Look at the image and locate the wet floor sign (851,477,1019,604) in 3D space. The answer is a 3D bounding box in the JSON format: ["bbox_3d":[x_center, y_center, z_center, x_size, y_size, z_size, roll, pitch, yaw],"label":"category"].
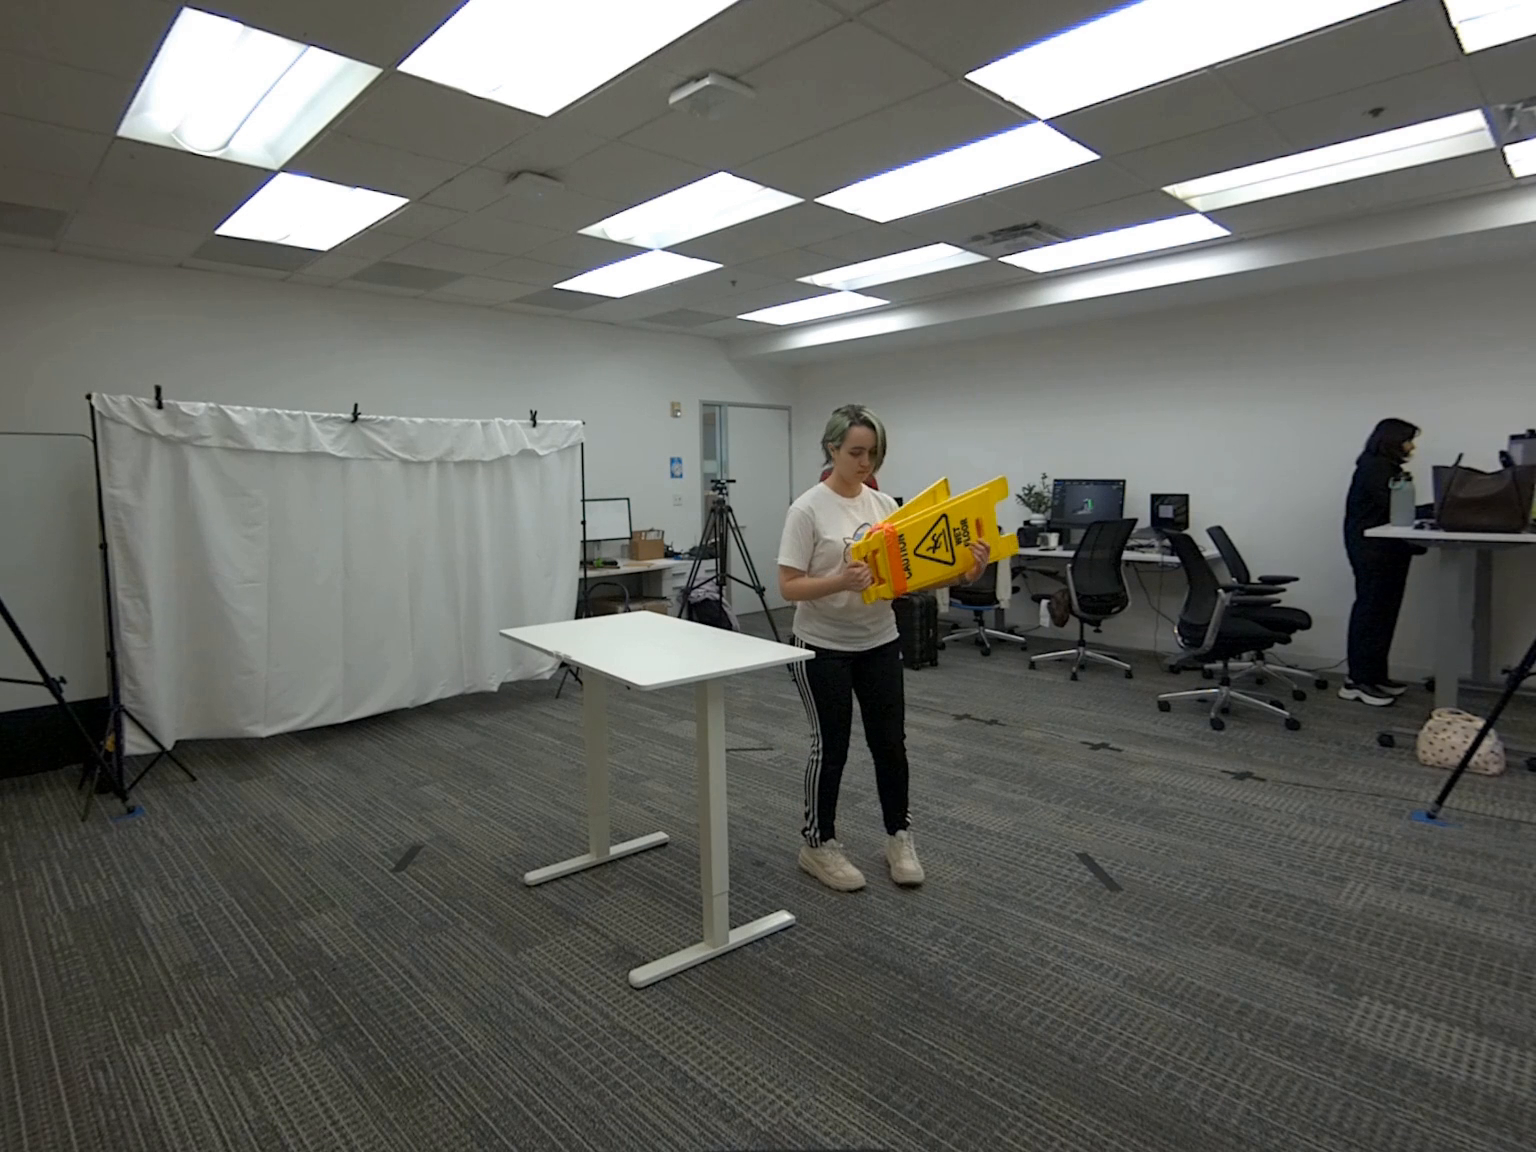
[{"bbox_3d":[0.518,-0.109,2.854,0.636,0.278,0.298,-24,16,-34],"label":"wet floor sign"}]
